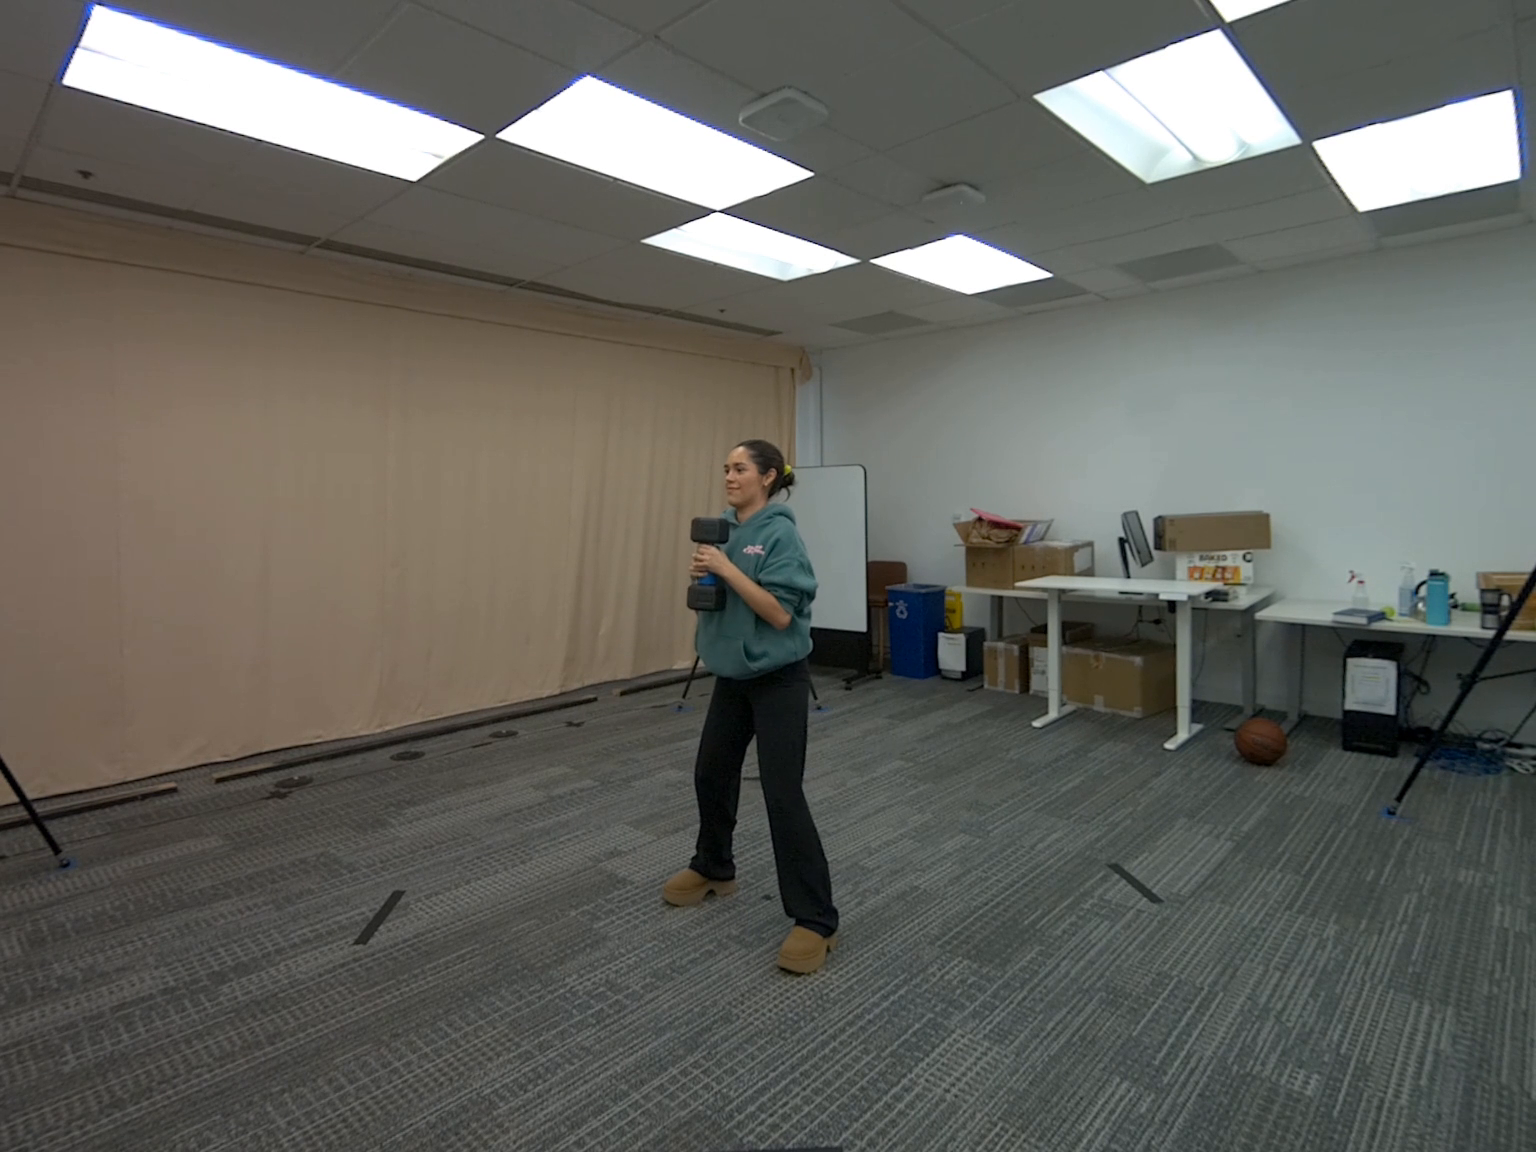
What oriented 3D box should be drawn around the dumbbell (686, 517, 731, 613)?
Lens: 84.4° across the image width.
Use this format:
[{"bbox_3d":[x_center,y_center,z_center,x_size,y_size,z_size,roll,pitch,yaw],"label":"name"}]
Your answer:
[{"bbox_3d":[-0.185,-0.026,2.675,0.123,0.294,0.108,0,-3,0],"label":"dumbbell"}]
